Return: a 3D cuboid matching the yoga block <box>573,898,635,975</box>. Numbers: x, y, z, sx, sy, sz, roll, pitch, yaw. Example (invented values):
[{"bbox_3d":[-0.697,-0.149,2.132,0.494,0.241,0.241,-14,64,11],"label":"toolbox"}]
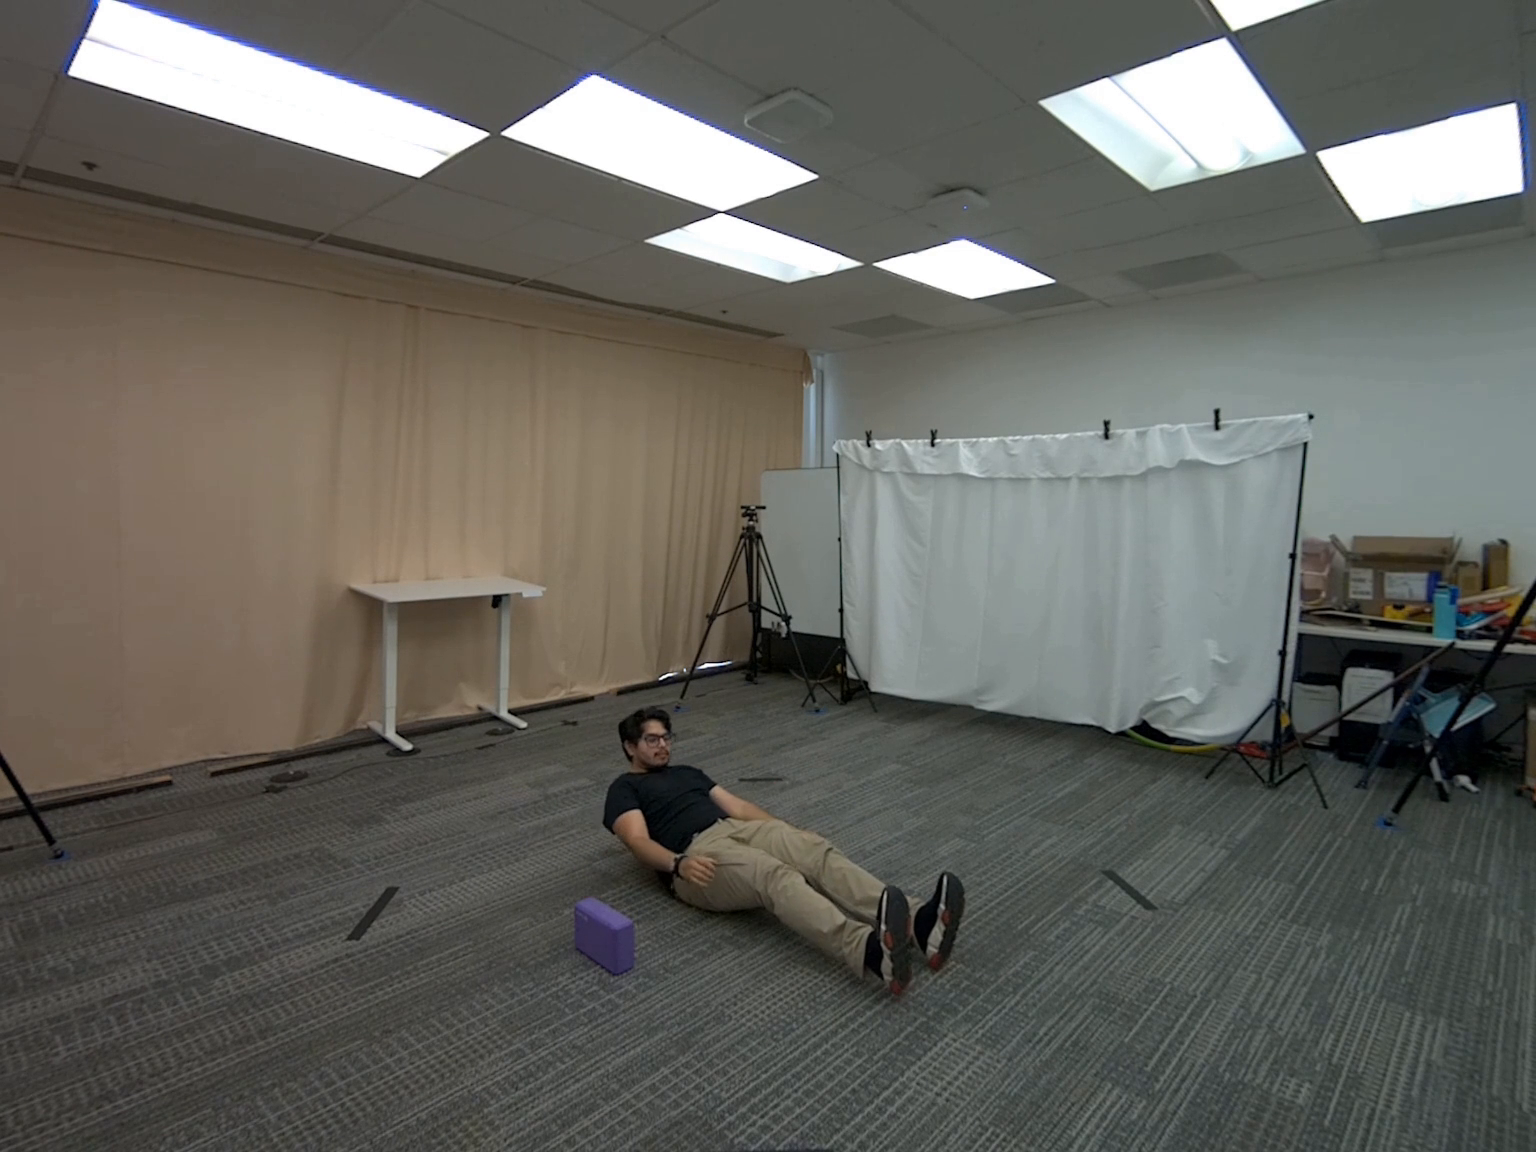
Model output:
[{"bbox_3d":[-0.504,1.096,2.598,0.074,0.148,0.237,-4,6,-41],"label":"yoga block"}]
